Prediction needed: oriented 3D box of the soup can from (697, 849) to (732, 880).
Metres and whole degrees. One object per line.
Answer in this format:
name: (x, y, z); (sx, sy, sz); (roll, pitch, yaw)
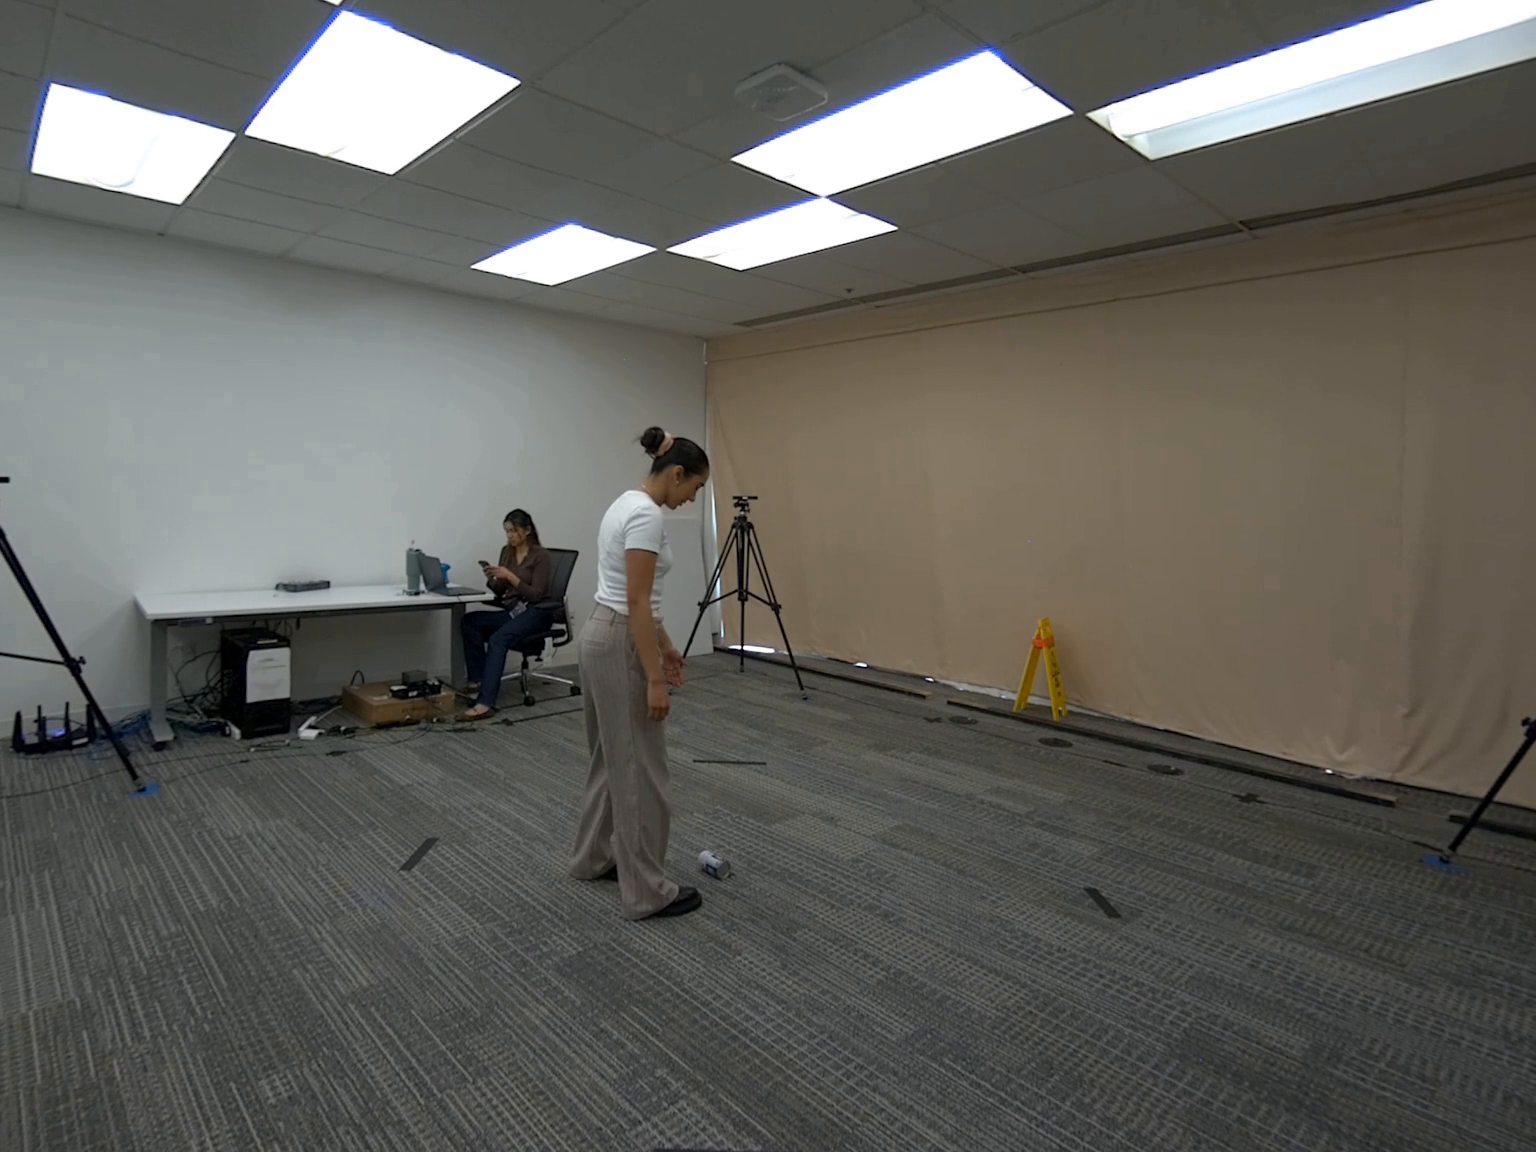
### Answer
soup can: (-0.204, 1.062, 3.105); (0.065, 0.067, 0.125); (-2, 7, -40)
